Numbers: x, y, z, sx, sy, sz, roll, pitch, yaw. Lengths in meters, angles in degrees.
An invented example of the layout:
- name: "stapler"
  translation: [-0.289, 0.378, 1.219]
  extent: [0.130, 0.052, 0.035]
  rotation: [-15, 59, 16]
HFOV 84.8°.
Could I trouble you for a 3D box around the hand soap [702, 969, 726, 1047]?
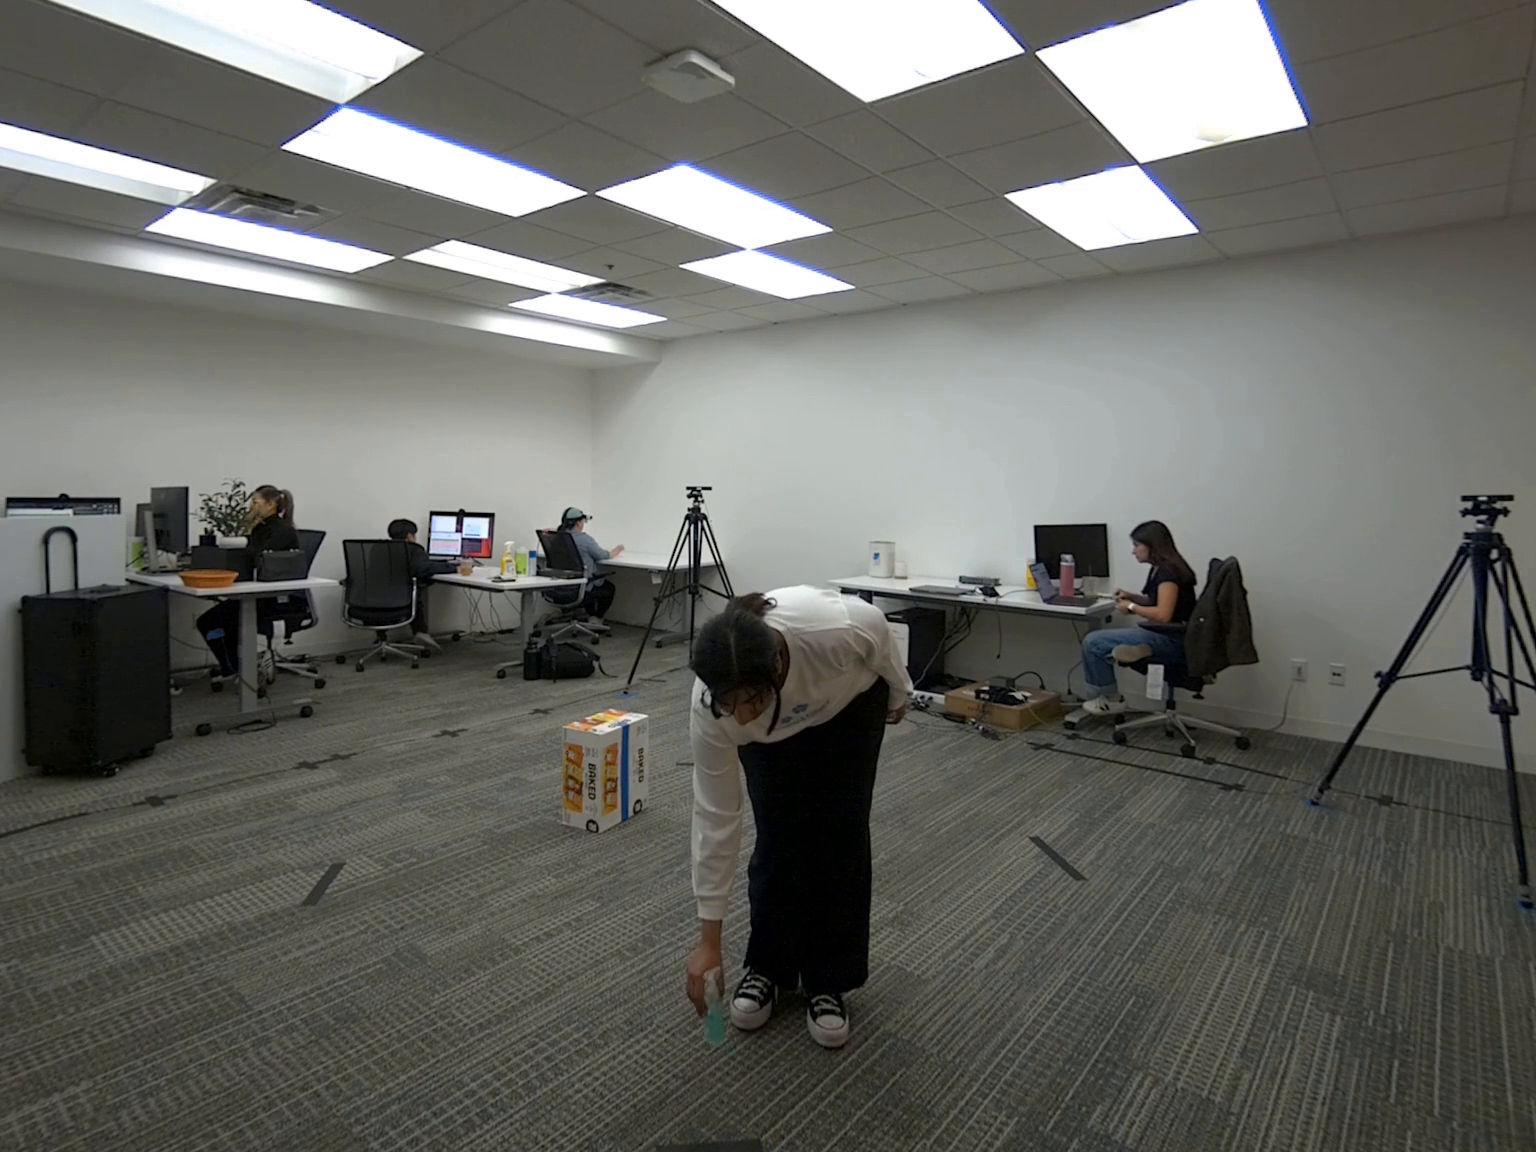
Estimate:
- name: "hand soap"
  translation: [-0.139, 0.997, 1.952]
  extent: [0.043, 0.166, 0.085]
  rotation: [0, 10, 1]
